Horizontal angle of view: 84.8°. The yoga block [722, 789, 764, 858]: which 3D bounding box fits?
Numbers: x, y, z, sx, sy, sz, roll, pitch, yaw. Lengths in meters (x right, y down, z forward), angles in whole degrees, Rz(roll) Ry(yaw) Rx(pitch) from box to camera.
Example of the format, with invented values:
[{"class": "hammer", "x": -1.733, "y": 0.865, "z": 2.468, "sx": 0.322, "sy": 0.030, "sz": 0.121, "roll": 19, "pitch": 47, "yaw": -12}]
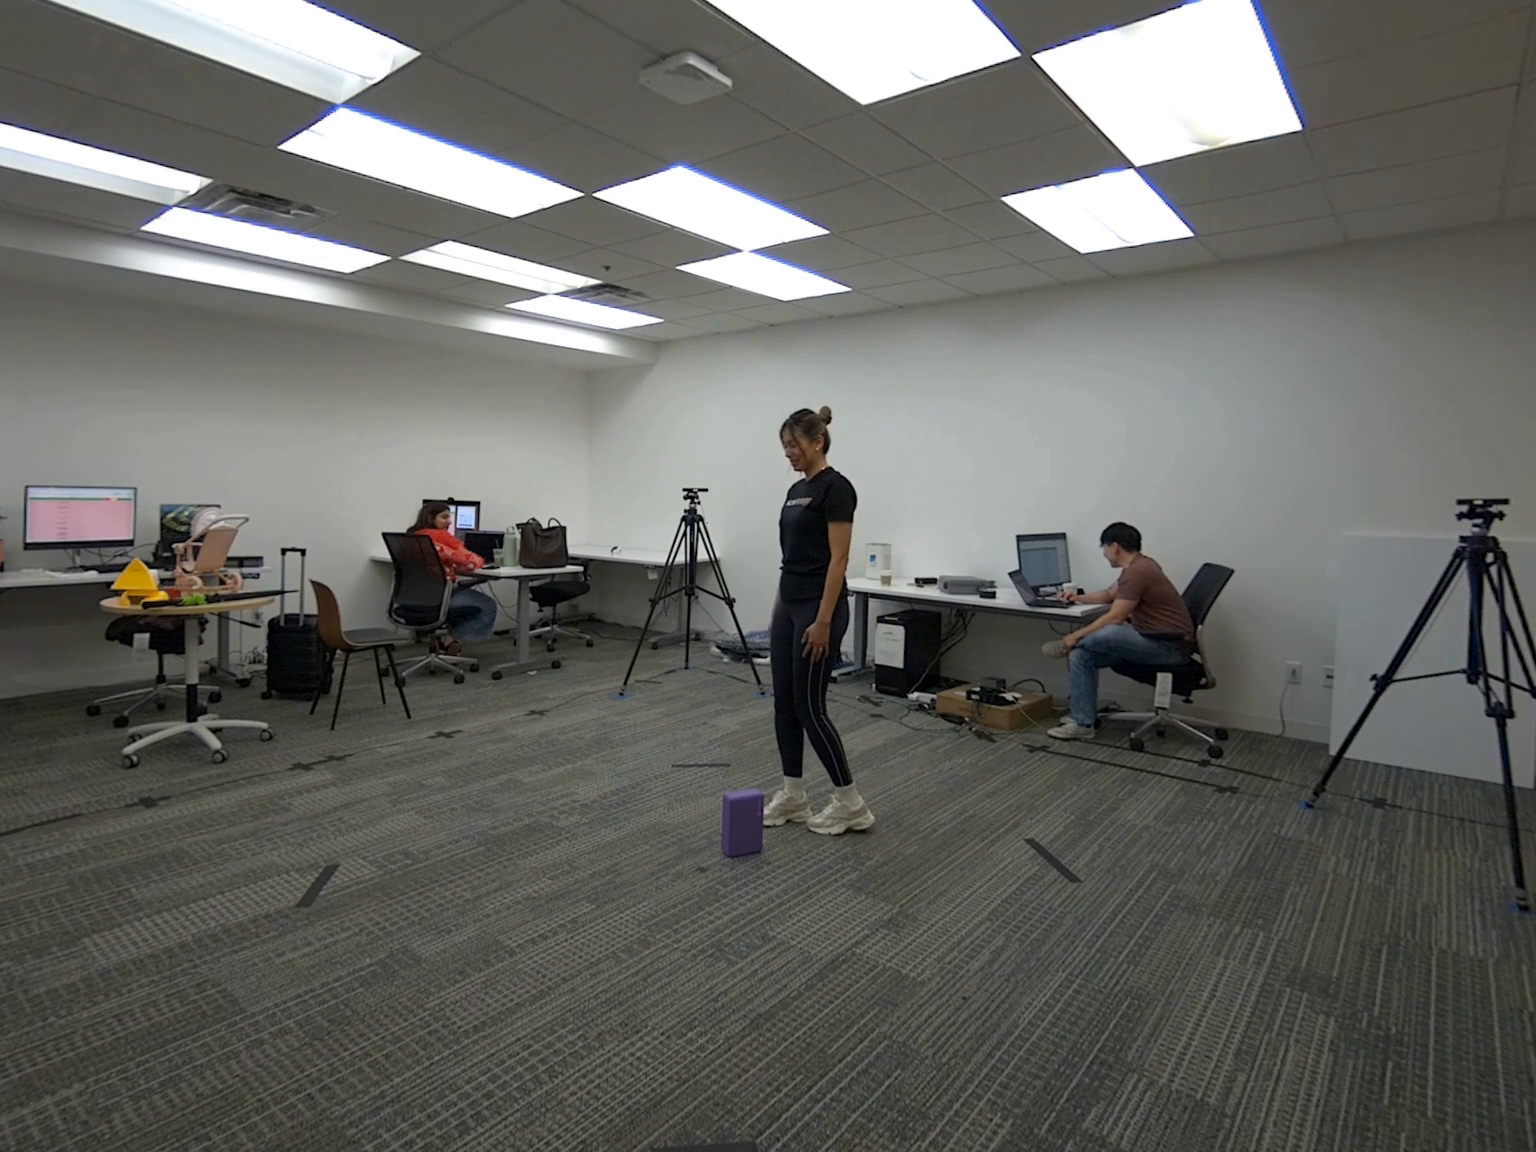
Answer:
[{"class": "yoga block", "x": -0.105, "y": 0.940, "z": 3.261, "sx": 0.145, "sy": 0.229, "sz": 0.078, "roll": -1, "pitch": 3, "yaw": -29}]
